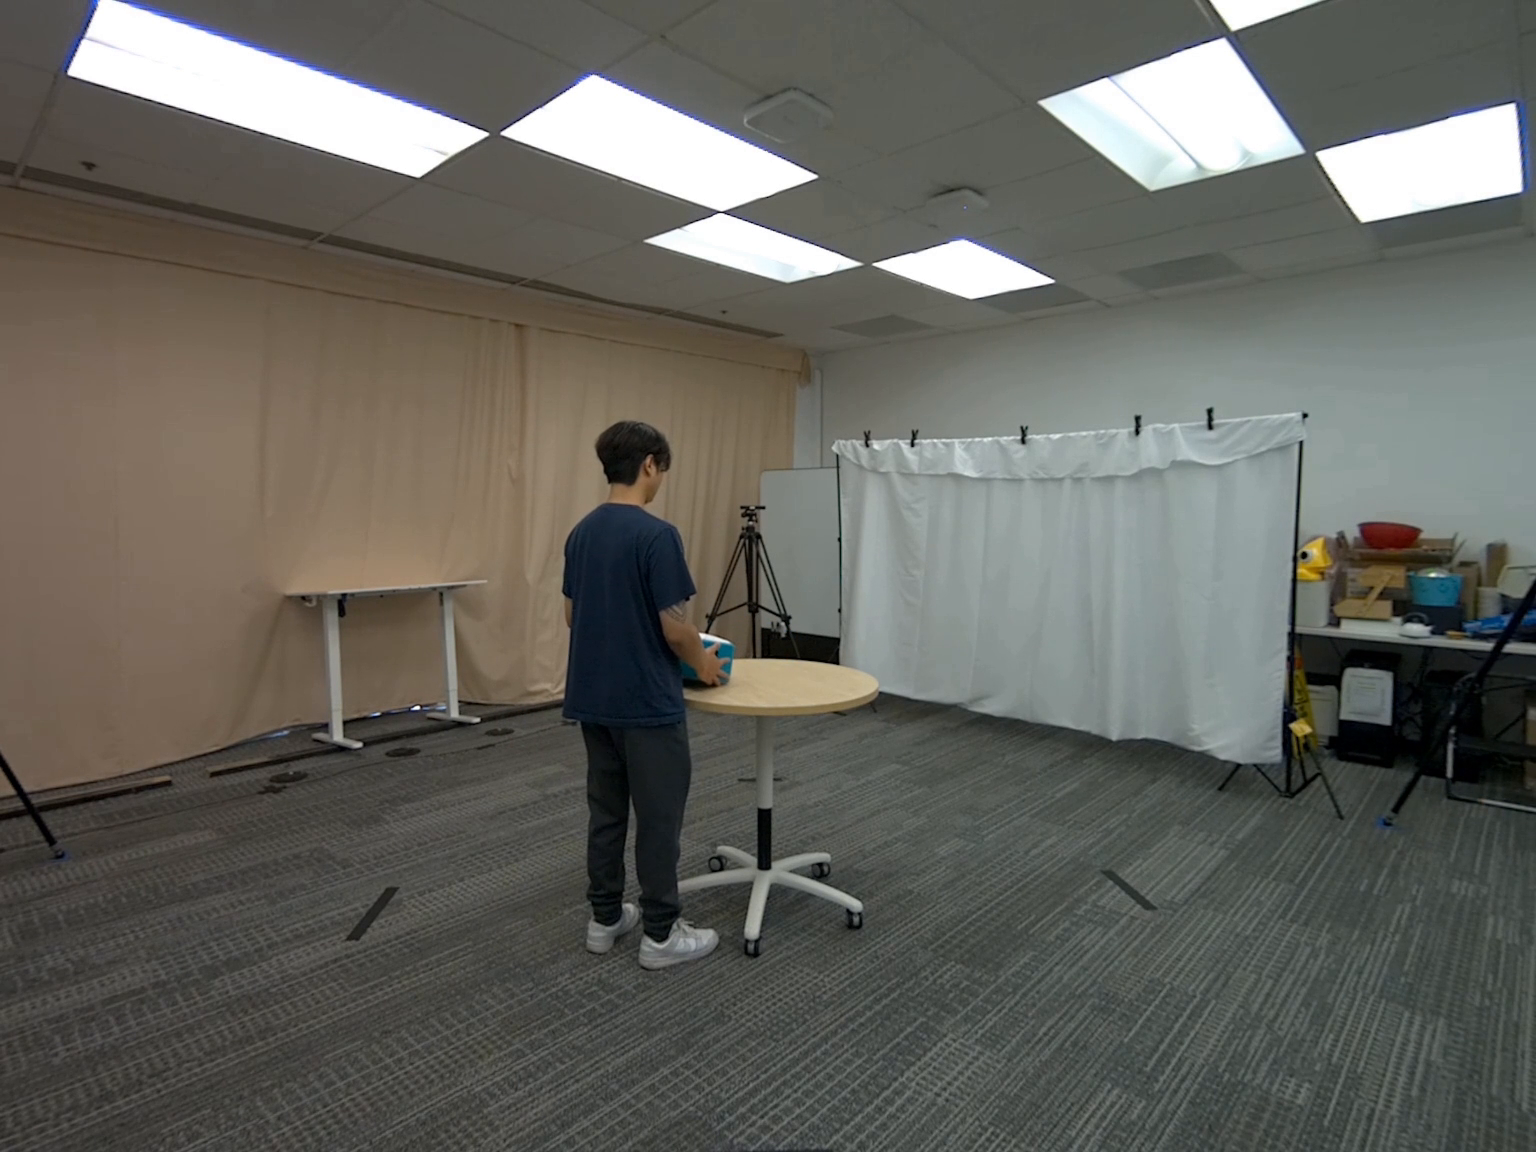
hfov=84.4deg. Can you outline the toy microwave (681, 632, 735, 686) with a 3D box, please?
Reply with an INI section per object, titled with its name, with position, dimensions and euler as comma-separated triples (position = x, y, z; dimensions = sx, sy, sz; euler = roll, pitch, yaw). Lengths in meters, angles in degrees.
[toy microwave]
position = -0.262, 0.266, 2.844
dimensions = 0.296, 0.153, 0.177
euler = 6, -6, 39
